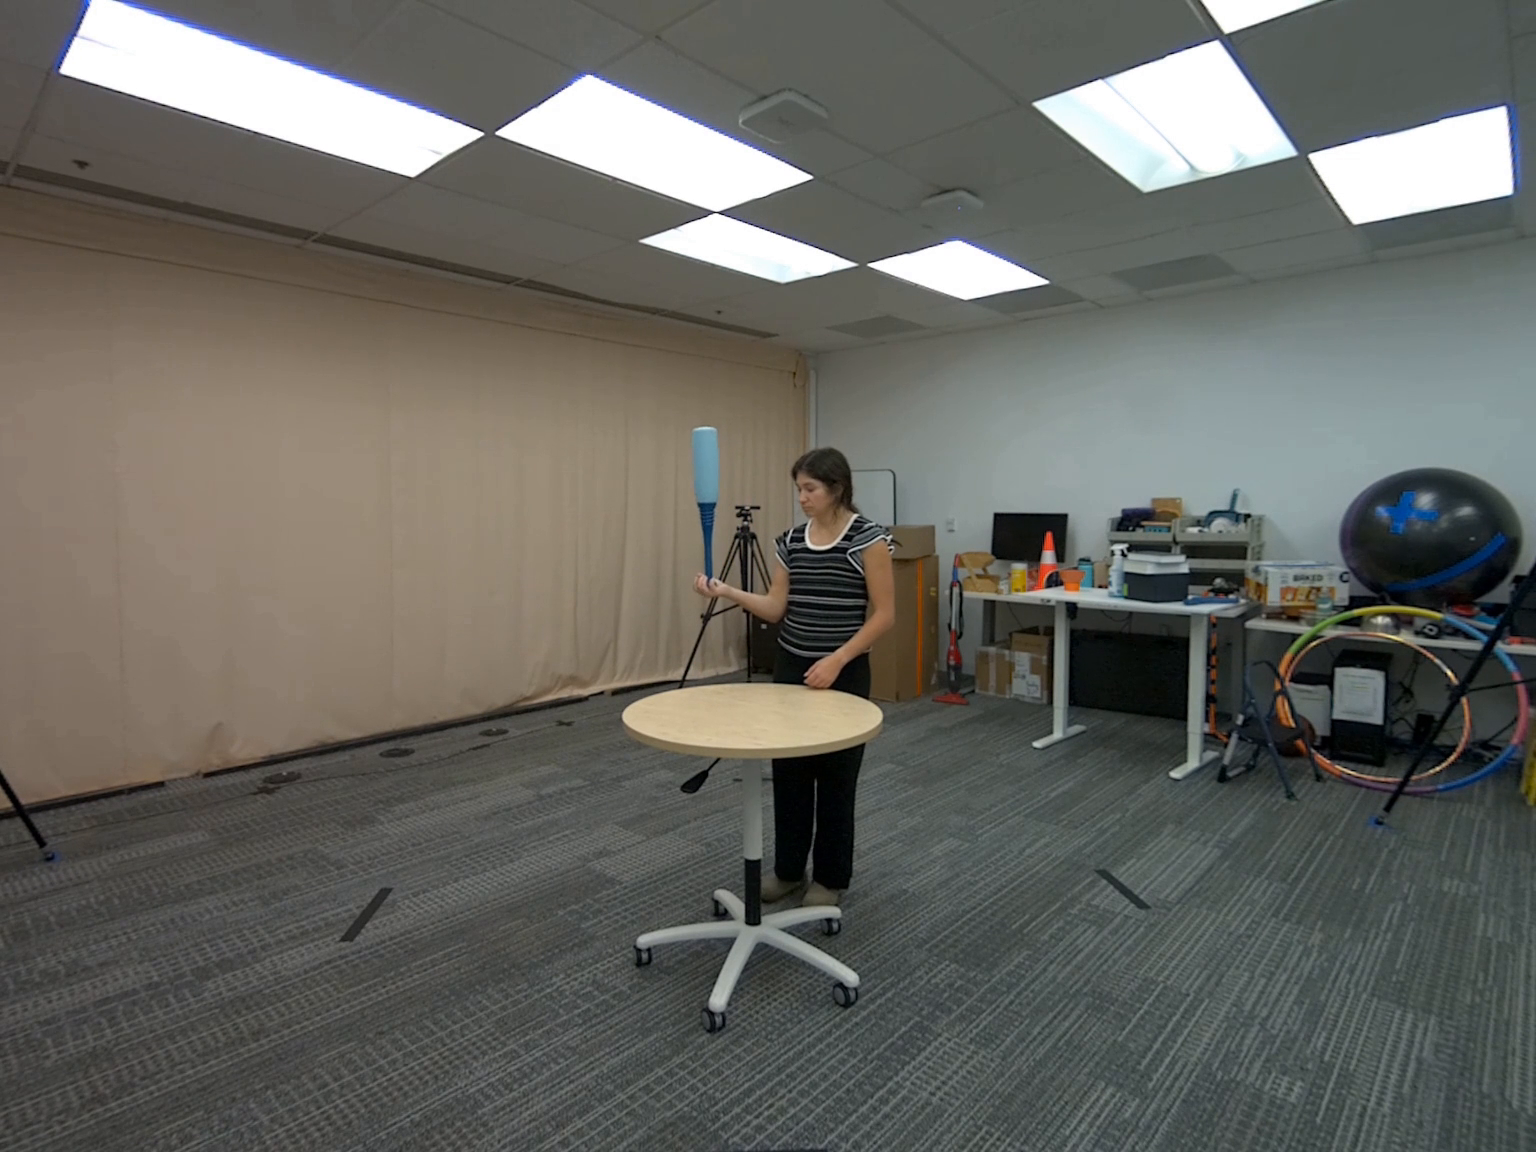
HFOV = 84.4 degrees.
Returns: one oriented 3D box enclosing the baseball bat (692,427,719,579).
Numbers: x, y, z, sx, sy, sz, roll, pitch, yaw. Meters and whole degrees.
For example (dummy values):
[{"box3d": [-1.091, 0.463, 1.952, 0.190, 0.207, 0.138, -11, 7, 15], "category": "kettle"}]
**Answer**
[{"box3d": [-0.196, -0.228, 2.846, 0.089, 0.542, 0.089, -1, 3, -2], "category": "baseball bat"}]
